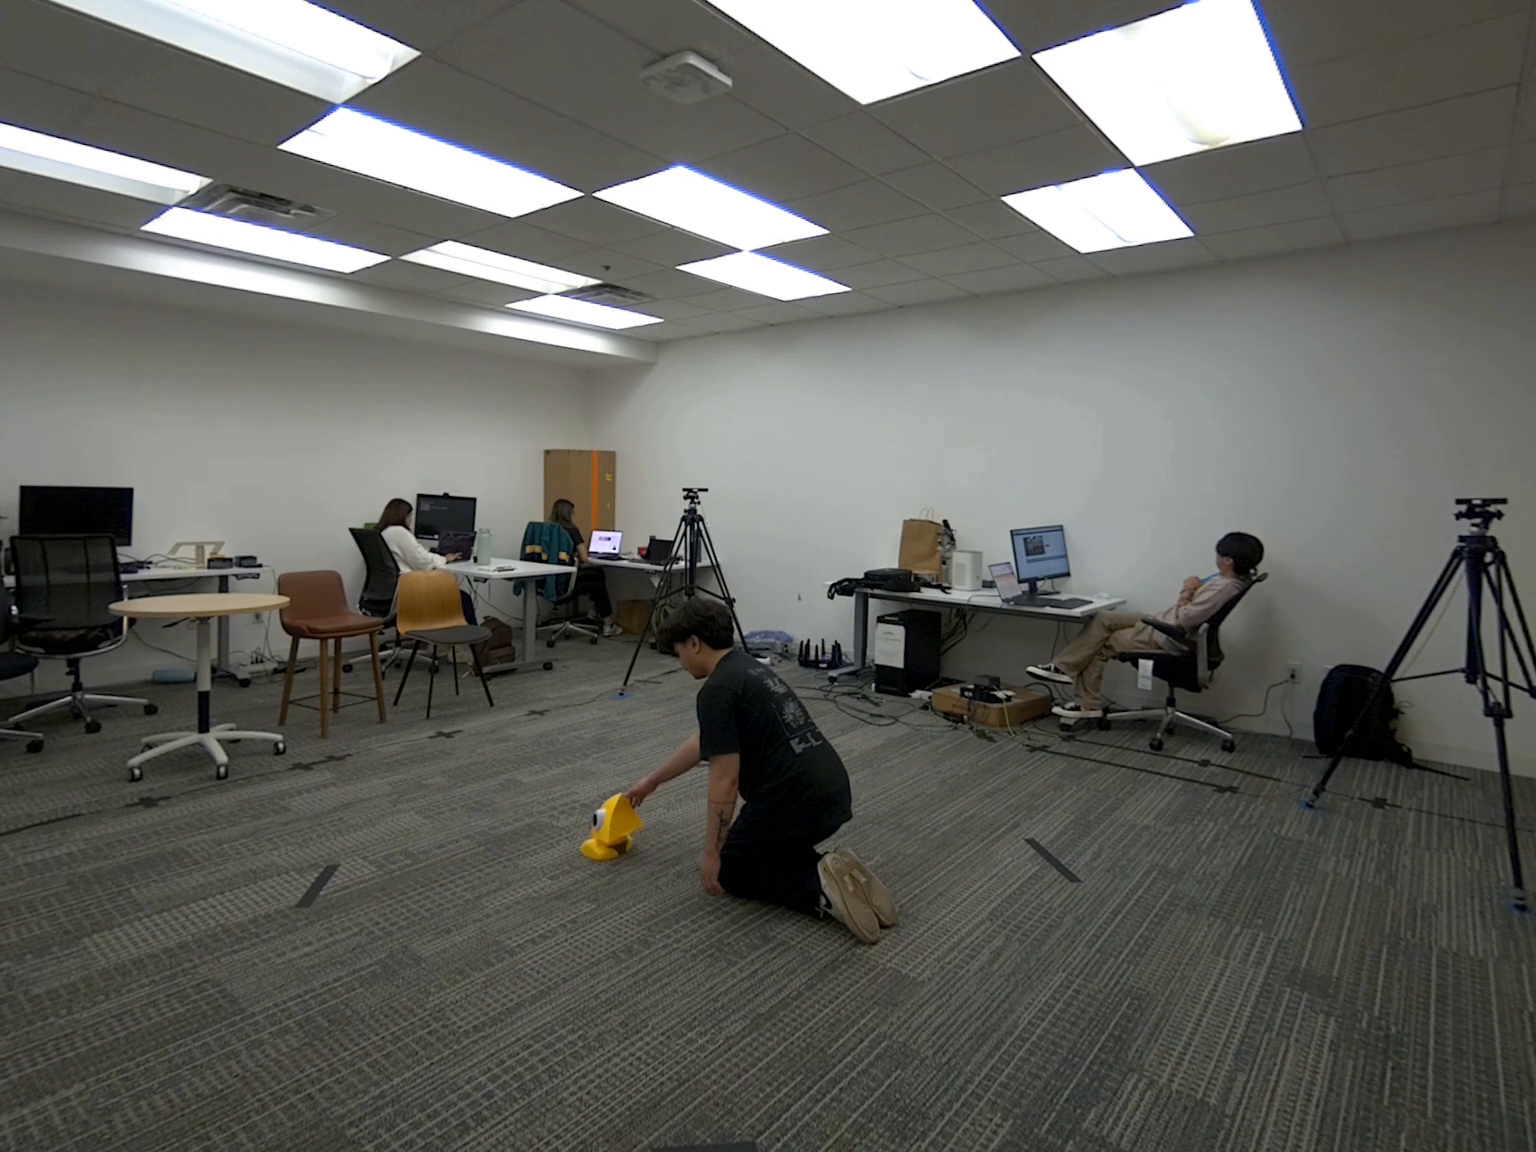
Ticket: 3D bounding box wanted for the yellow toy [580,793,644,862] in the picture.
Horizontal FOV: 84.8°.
[{"bbox_3d":[-0.619,0.934,3.266,0.199,0.230,0.199,4,5,33],"label":"yellow toy"}]
